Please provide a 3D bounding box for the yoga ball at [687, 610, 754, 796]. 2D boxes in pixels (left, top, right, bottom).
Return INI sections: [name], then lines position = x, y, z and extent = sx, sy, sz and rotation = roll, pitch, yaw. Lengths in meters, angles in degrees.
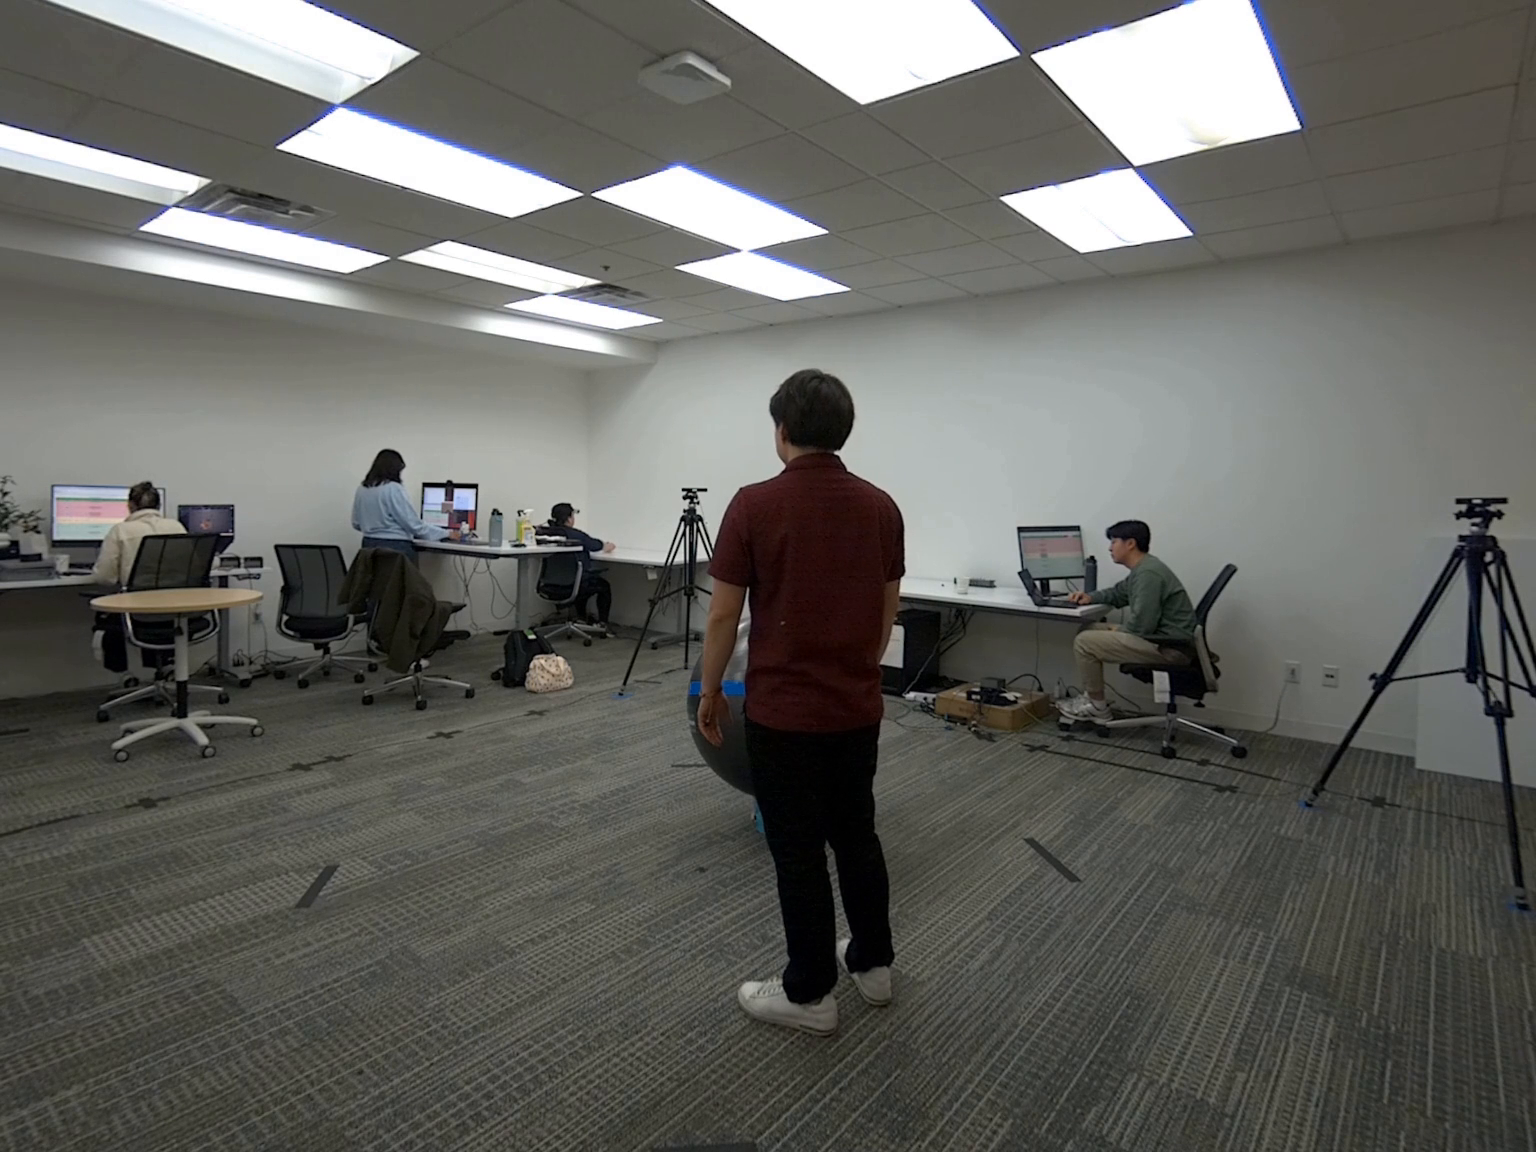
[yoga ball]
position = 0.040, 0.522, 3.482
extent = 0.757, 0.756, 0.762
rotation = 1, 4, -2
